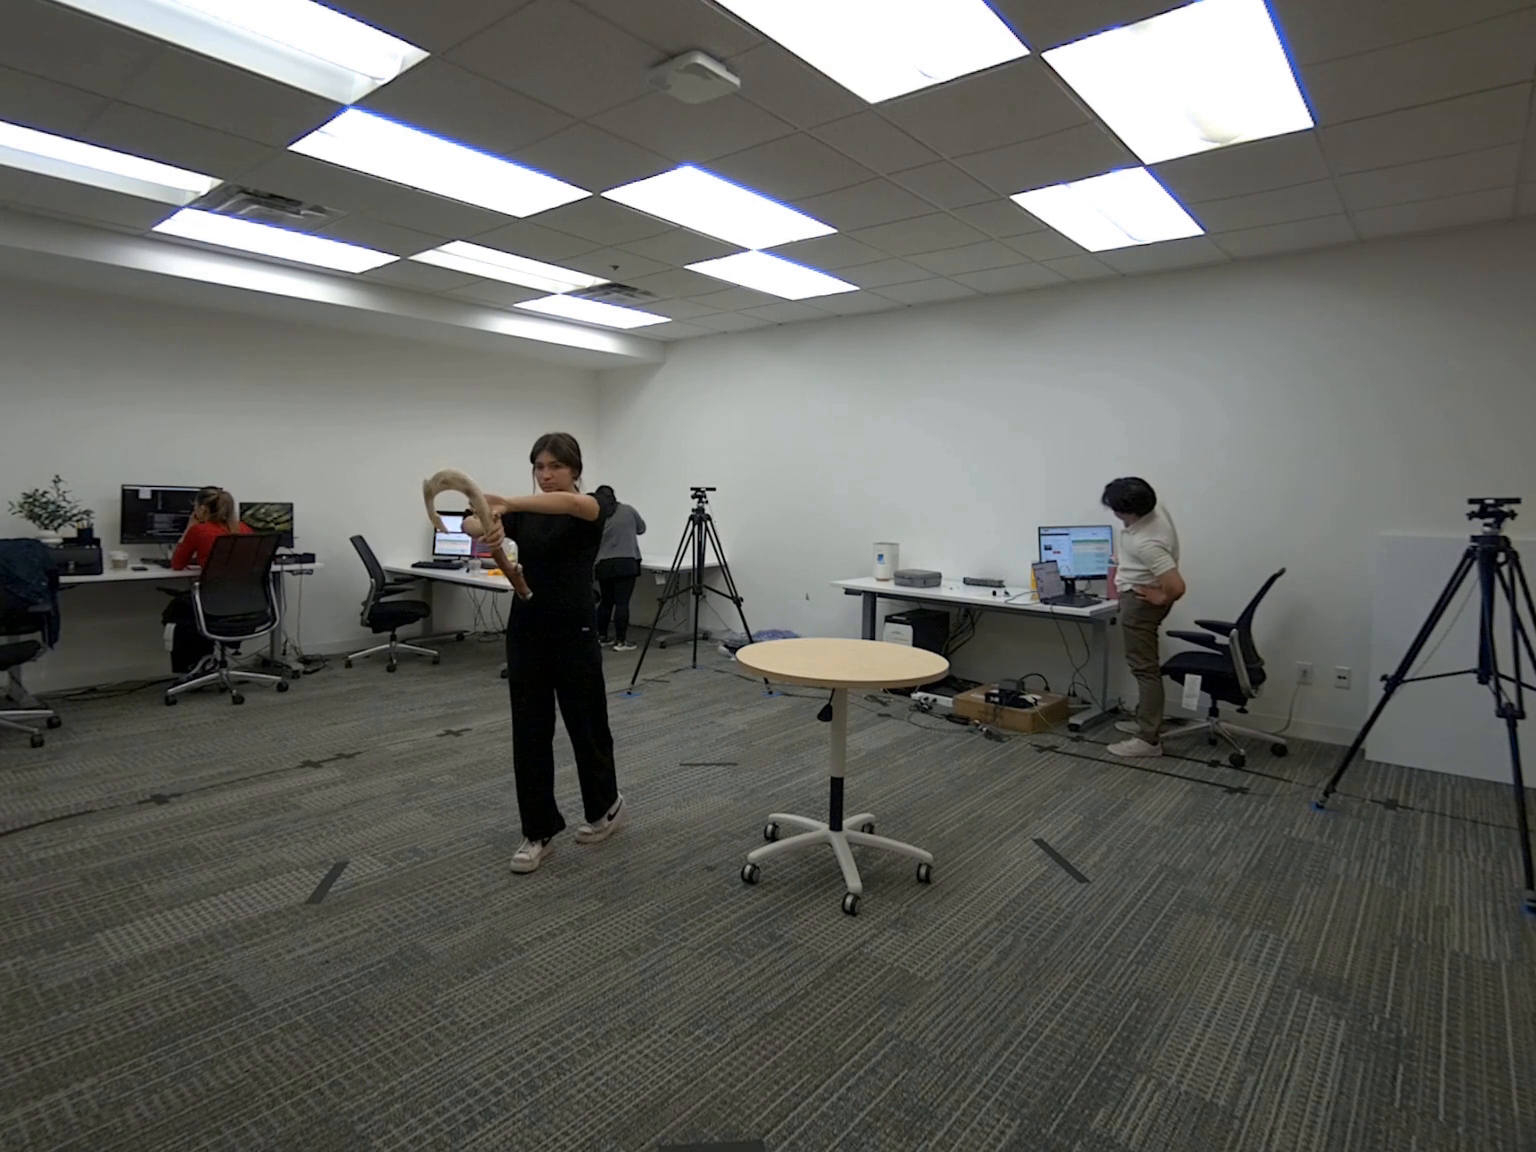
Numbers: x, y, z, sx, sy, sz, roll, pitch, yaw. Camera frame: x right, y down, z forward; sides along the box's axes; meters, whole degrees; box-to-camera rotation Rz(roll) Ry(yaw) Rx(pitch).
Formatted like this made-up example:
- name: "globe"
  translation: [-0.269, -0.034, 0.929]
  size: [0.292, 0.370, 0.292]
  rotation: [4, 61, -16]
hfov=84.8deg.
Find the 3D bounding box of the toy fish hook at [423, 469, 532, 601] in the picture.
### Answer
- name: "toy fish hook"
  translation: [-0.980, -0.112, 2.783]
  size: [0.228, 0.498, 0.048]
  rotation: [-19, 14, 24]
